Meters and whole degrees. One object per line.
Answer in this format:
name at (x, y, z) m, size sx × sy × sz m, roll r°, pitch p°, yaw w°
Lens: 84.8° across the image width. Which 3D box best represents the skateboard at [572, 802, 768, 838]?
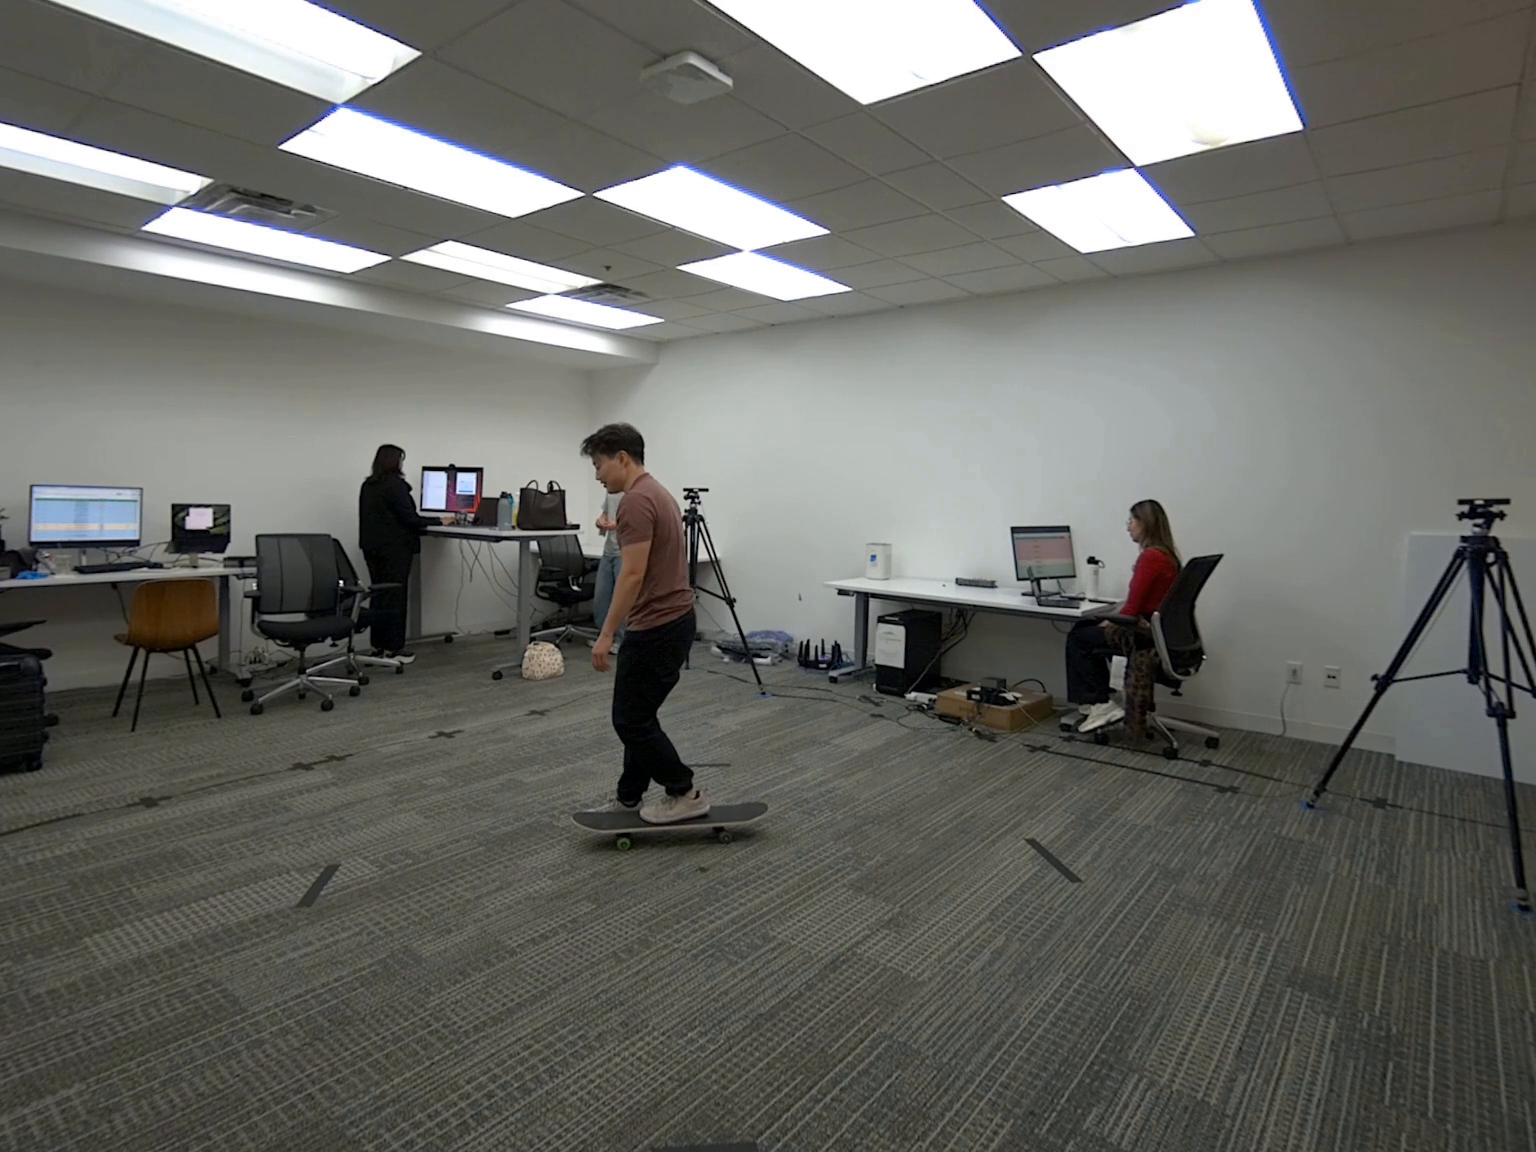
skateboard at (-0.394, 0.984, 3.378) m, size 0.775 × 0.110 × 0.197 m, roll -1°, pitch 6°, yaw -12°
